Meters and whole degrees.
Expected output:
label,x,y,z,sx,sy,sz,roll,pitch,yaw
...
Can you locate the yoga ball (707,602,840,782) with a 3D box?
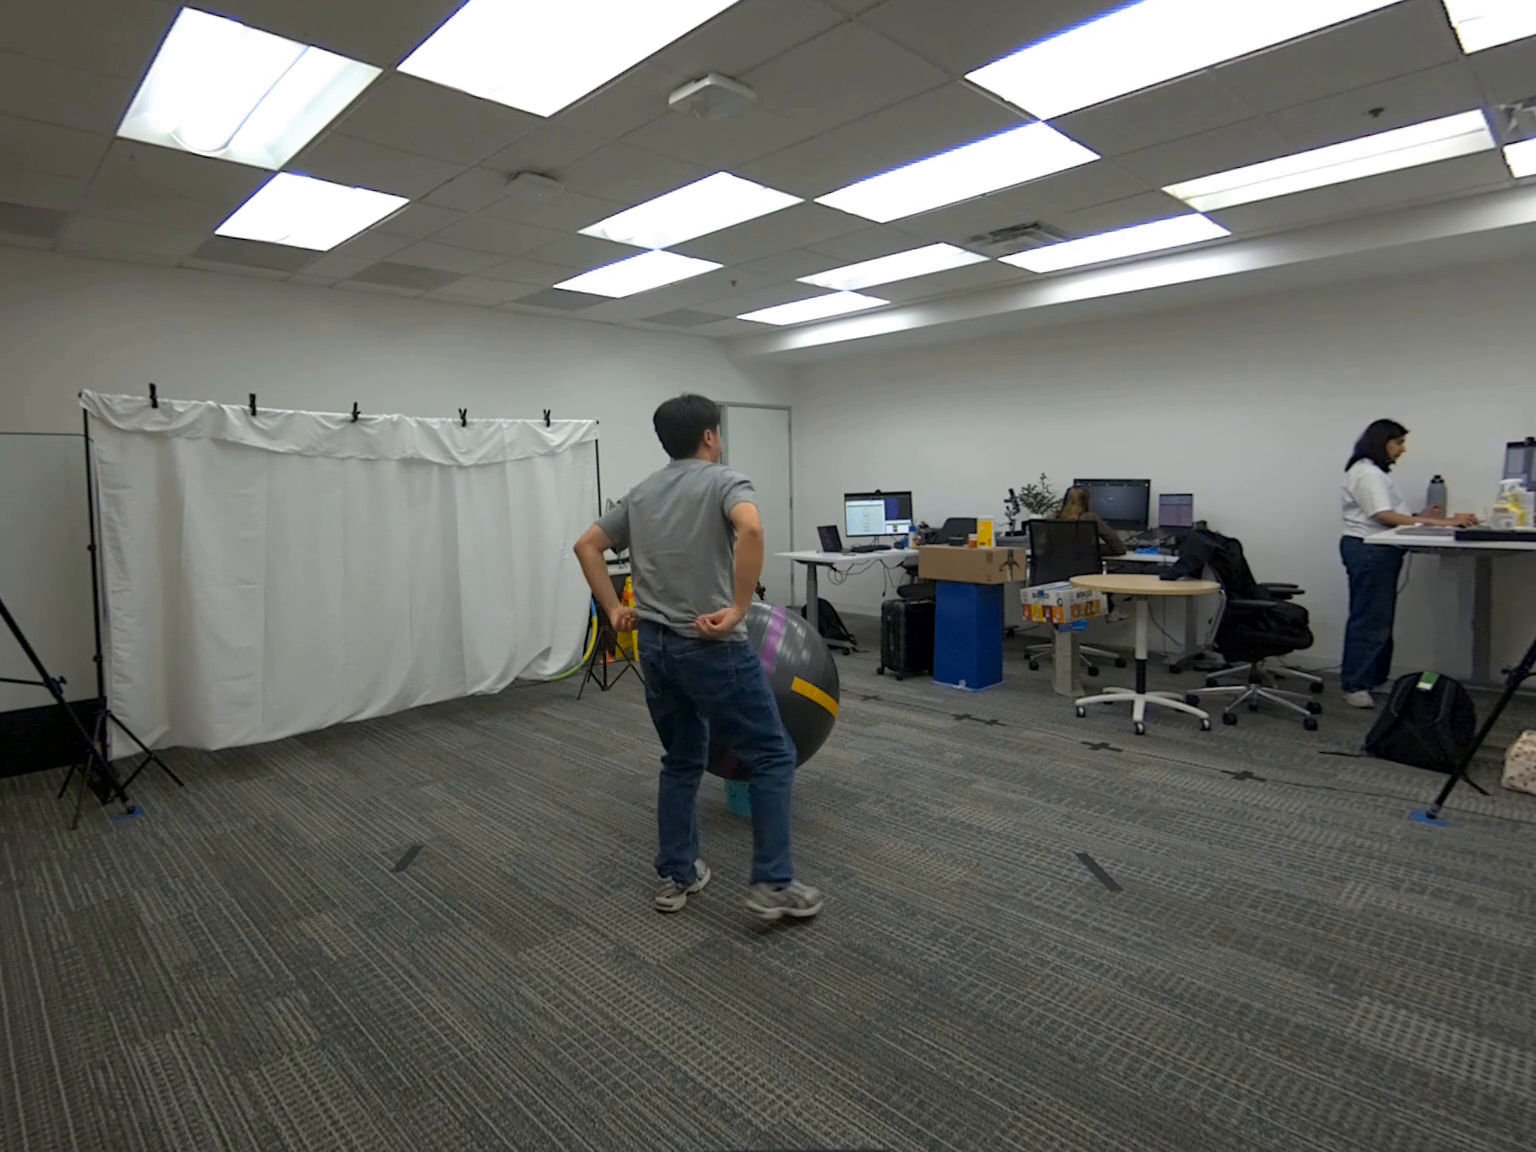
label,x,y,z,sx,sy,sz,roll,pitch,yaw
yoga ball,-0.082,0.481,3.616,0.757,0.755,0.762,-1,5,-2
